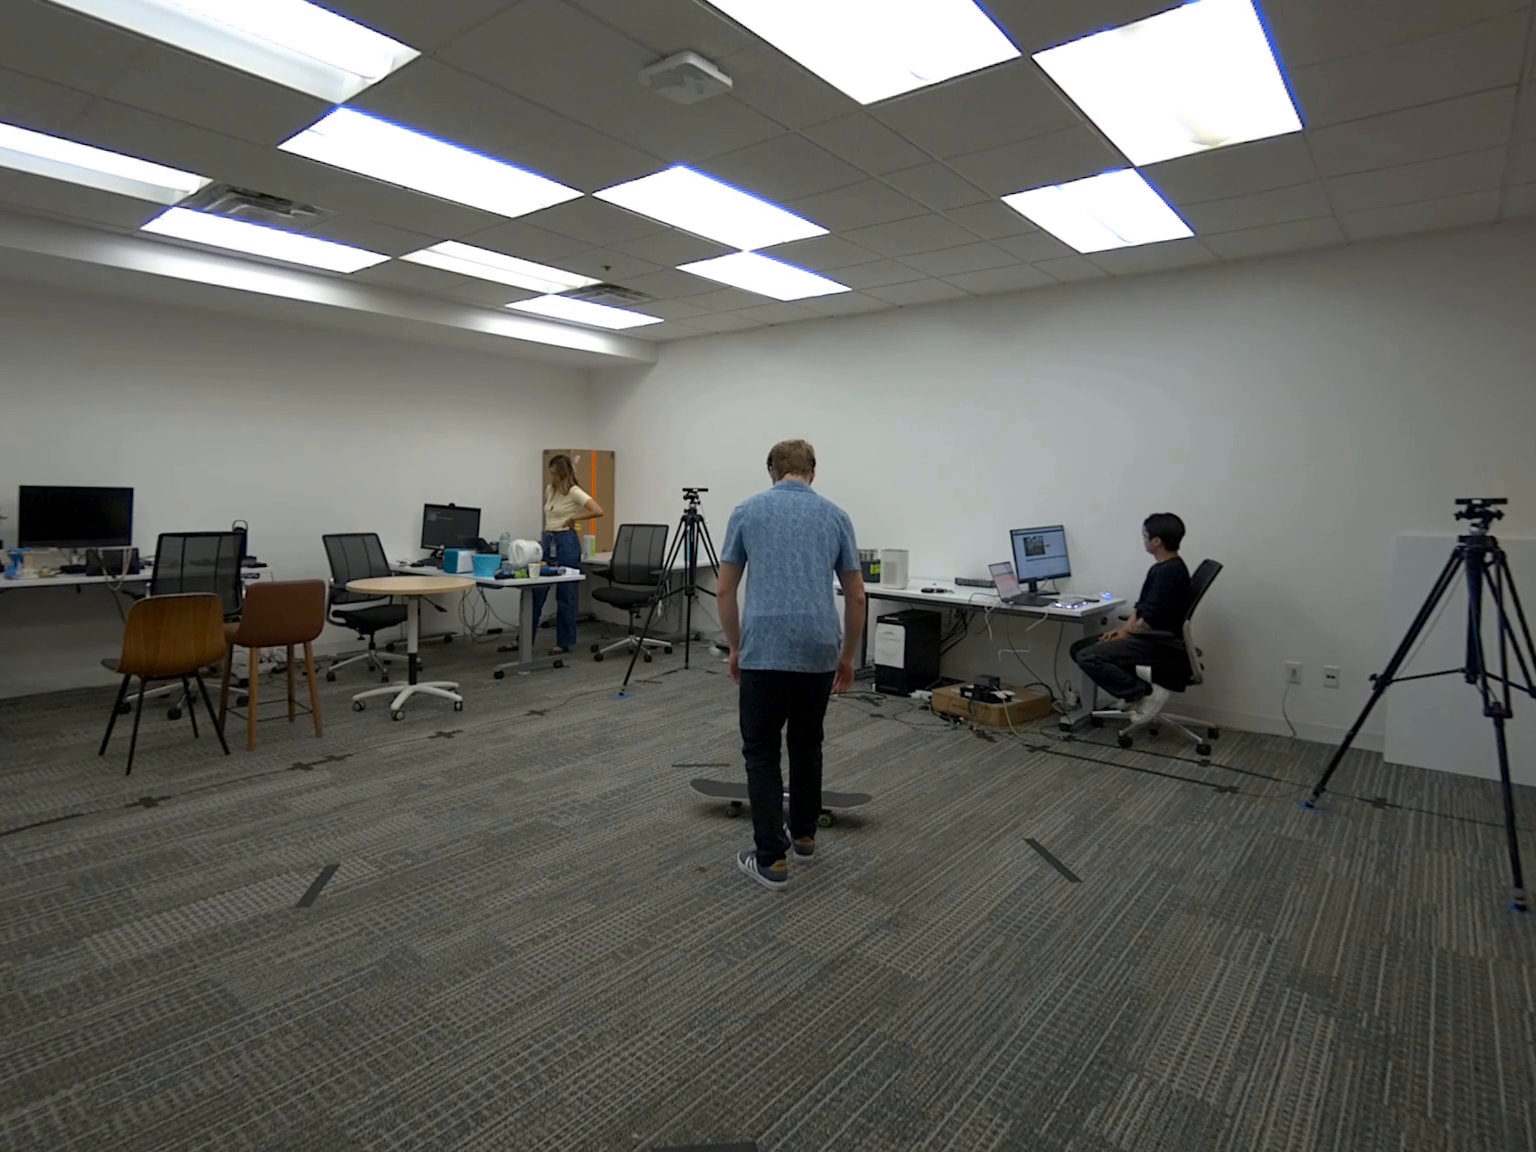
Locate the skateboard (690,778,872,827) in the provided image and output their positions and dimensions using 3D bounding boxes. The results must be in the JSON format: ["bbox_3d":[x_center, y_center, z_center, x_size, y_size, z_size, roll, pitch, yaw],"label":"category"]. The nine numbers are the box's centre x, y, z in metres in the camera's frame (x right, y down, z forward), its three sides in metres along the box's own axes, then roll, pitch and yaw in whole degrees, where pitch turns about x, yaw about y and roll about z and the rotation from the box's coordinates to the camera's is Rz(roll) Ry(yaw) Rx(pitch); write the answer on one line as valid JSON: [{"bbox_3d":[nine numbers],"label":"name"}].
[{"bbox_3d":[0.034,0.959,3.642,0.795,0.110,0.192,2,5,10],"label":"skateboard"}]
